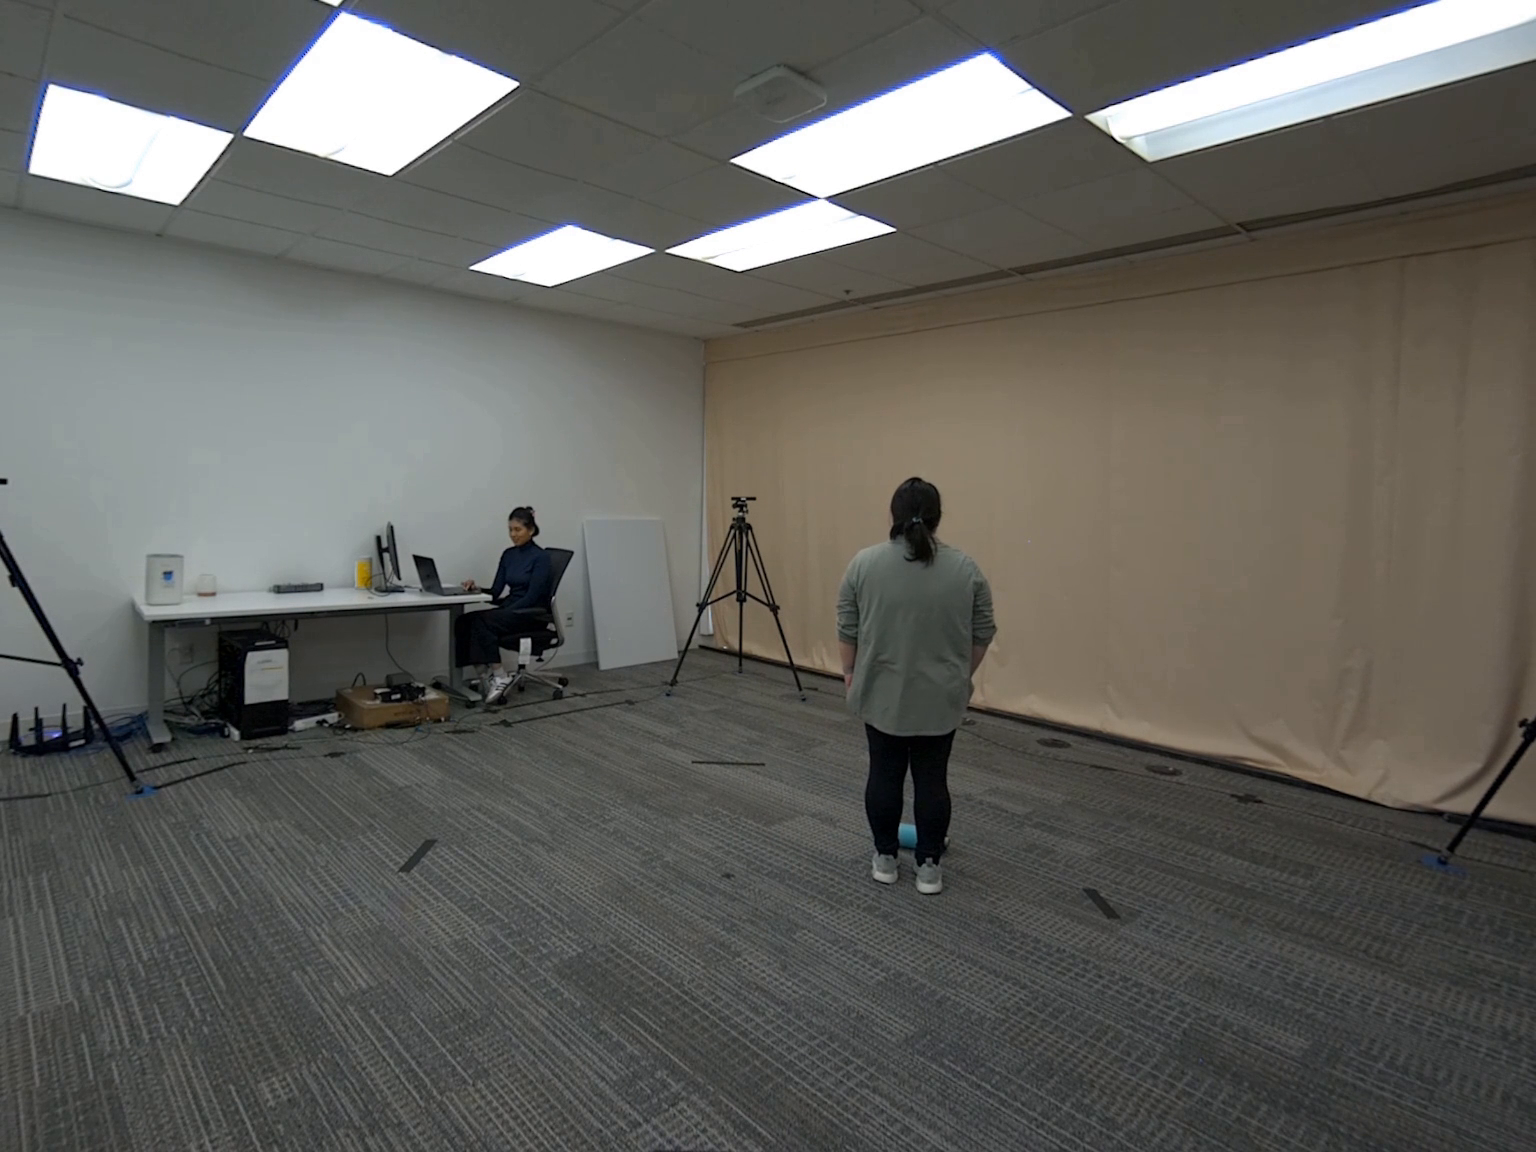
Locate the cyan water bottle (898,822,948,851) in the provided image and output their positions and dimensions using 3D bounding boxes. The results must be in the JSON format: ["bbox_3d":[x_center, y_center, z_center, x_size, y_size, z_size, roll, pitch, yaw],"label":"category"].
[{"bbox_3d":[0.586,1.056,3.401,0.288,0.092,0.091,3,5,20],"label":"cyan water bottle"}]
